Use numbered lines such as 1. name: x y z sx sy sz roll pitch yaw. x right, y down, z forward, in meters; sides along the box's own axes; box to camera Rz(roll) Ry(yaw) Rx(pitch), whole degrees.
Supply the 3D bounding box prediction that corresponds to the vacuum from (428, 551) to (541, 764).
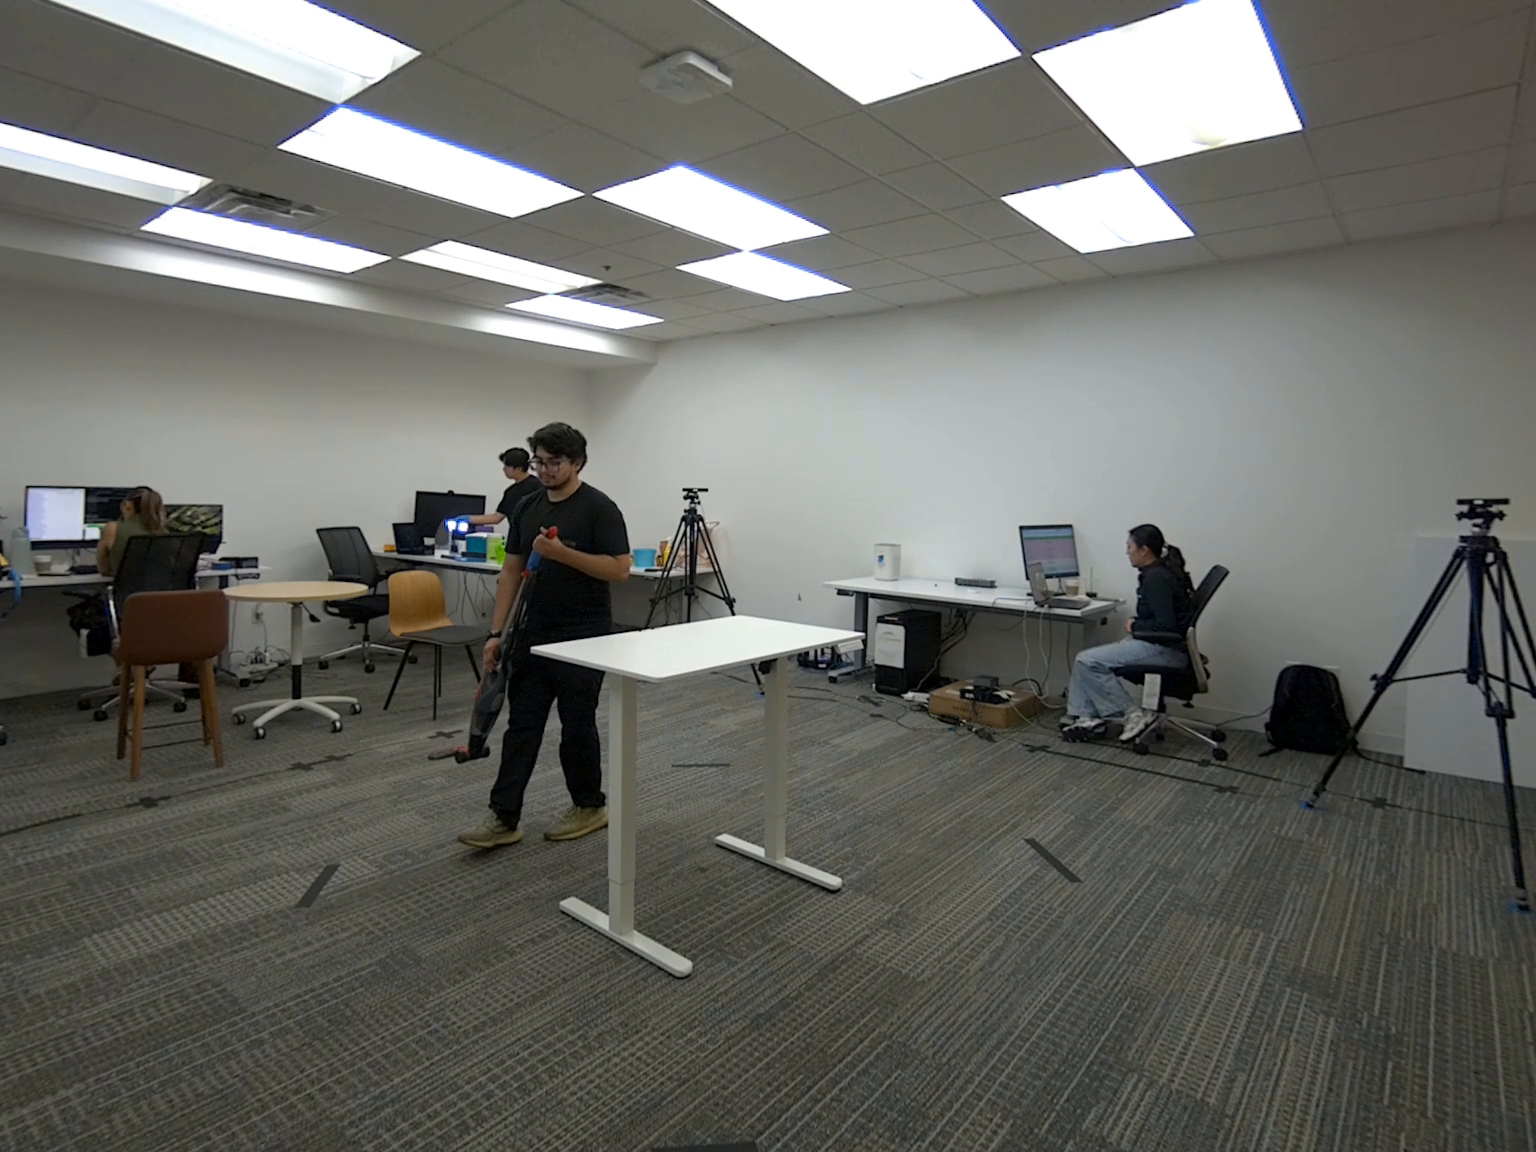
1. vacuum: -1.010 0.280 3.200 0.149 1.041 0.246 38 23 26
